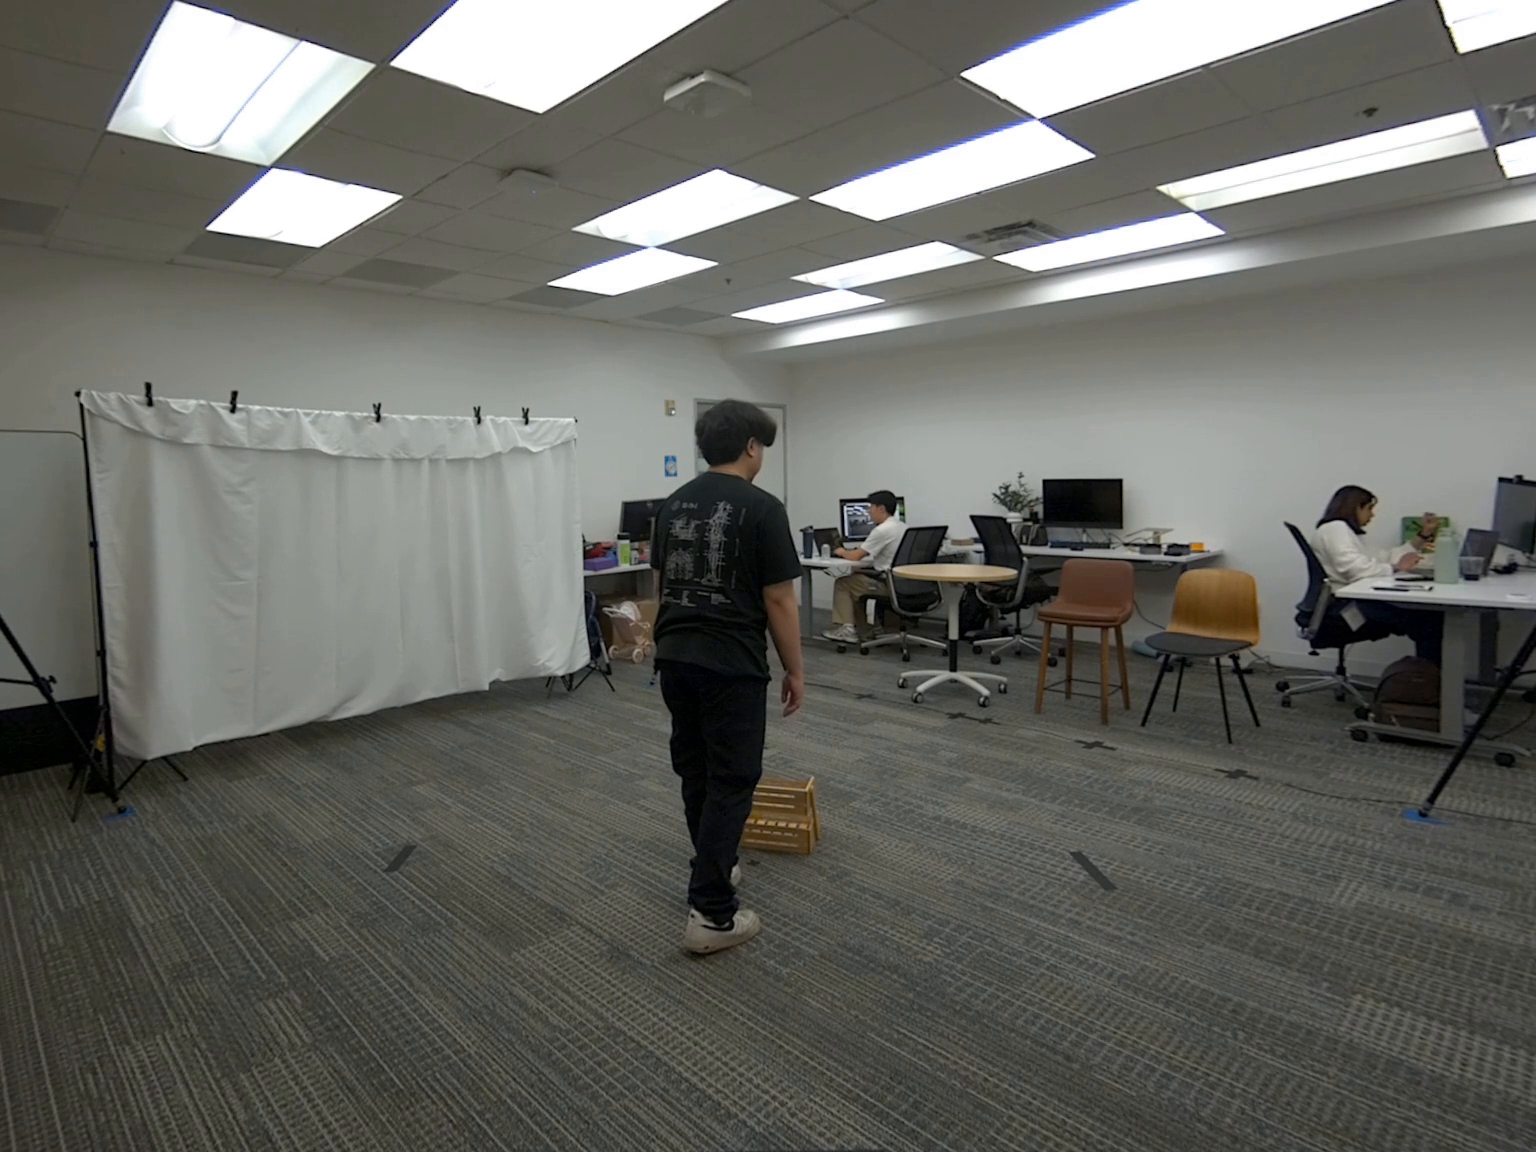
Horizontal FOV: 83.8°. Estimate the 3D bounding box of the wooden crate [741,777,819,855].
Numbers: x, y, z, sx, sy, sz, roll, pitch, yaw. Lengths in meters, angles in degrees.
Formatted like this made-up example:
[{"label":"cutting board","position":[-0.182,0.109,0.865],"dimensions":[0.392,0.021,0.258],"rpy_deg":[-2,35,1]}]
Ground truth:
[{"label":"wooden crate","position":[0.038,0.890,3.301],"dimensions":[0.329,0.272,0.299],"rpy_deg":[1,5,14]}]
